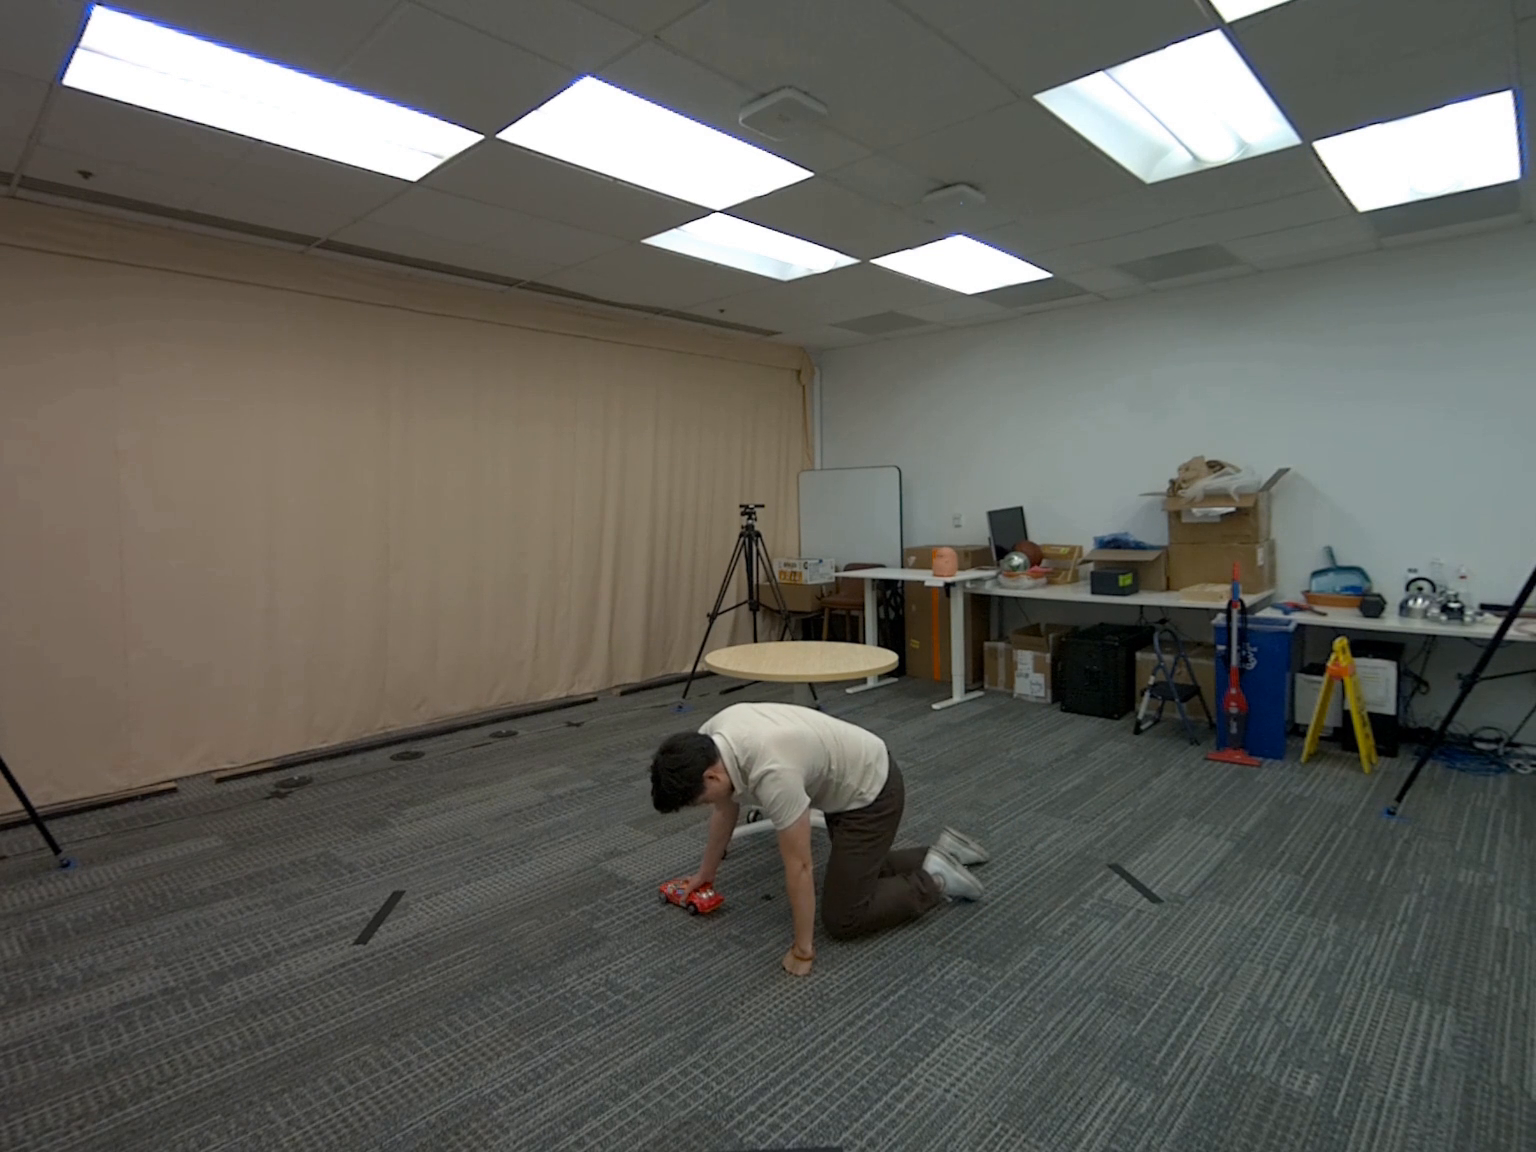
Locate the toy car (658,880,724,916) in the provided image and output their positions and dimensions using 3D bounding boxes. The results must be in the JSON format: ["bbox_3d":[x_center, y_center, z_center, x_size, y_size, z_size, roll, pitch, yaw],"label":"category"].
[{"bbox_3d":[-0.262,1.122,2.932,0.261,0.083,0.126,-11,-3,41],"label":"toy car"}]
